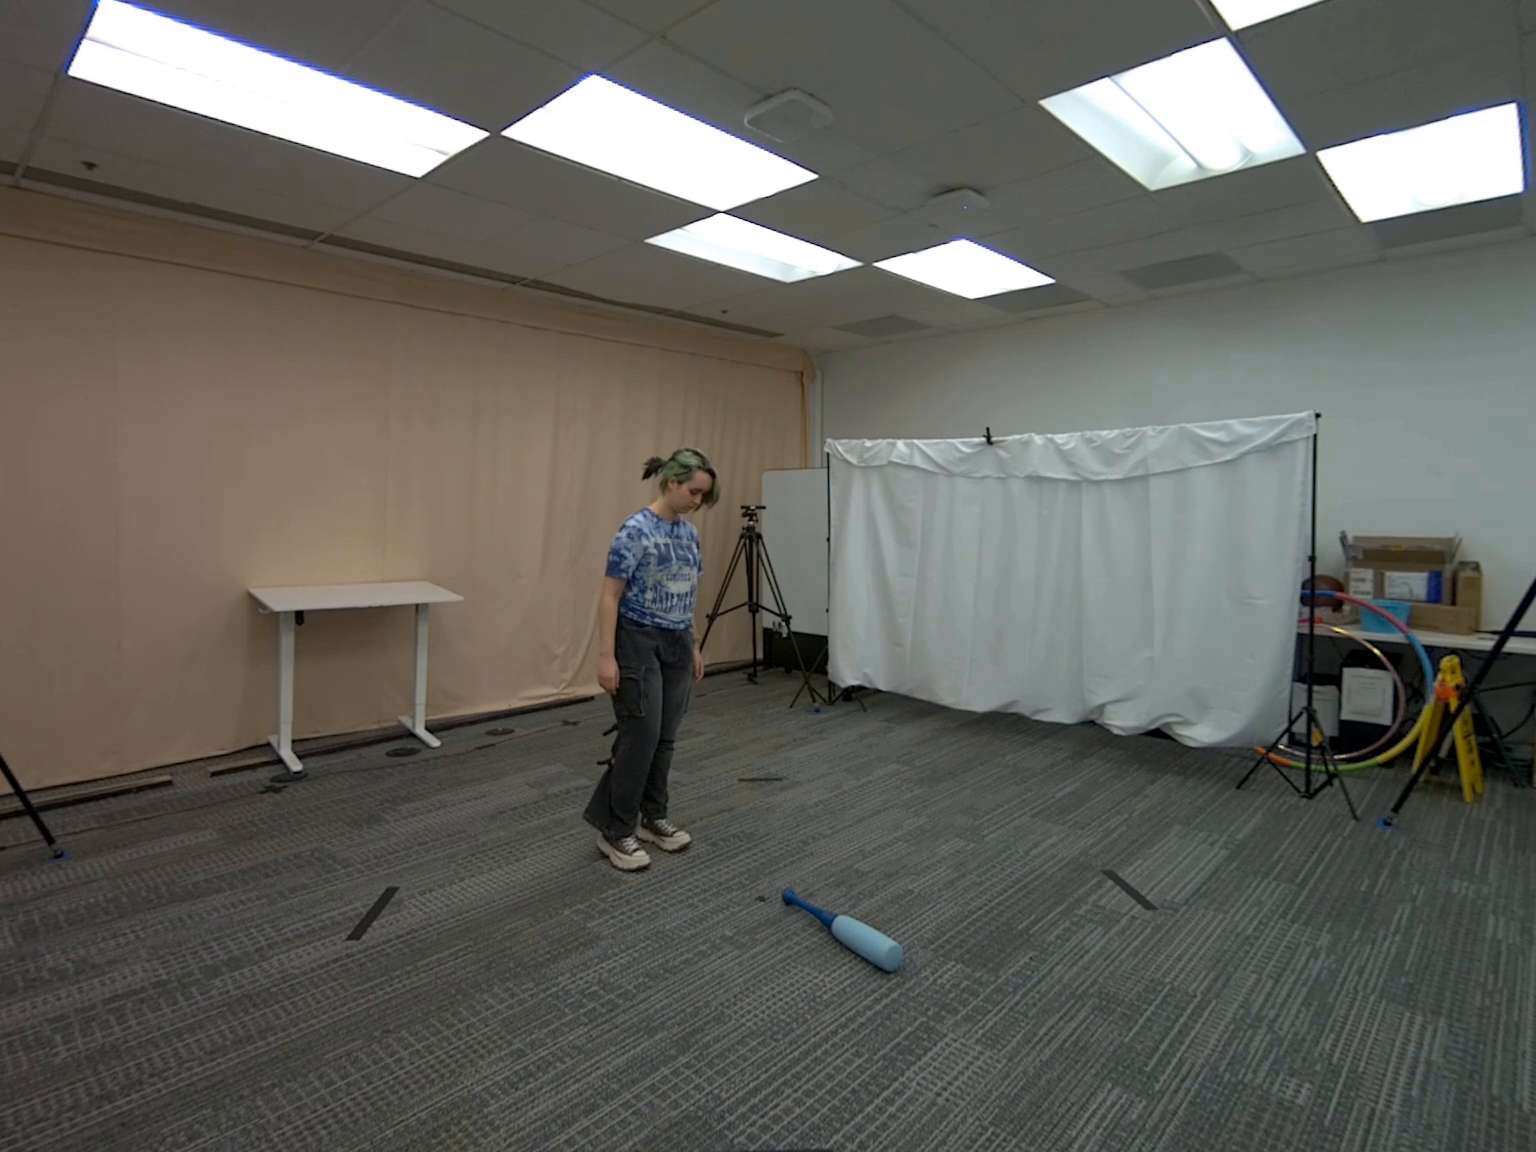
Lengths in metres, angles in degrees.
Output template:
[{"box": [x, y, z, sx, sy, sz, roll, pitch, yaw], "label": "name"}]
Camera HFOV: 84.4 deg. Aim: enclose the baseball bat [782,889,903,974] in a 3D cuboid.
[{"box": [0.223, 1.132, 2.725, 0.086, 0.089, 0.559, -2, 2, -33], "label": "baseball bat"}]
